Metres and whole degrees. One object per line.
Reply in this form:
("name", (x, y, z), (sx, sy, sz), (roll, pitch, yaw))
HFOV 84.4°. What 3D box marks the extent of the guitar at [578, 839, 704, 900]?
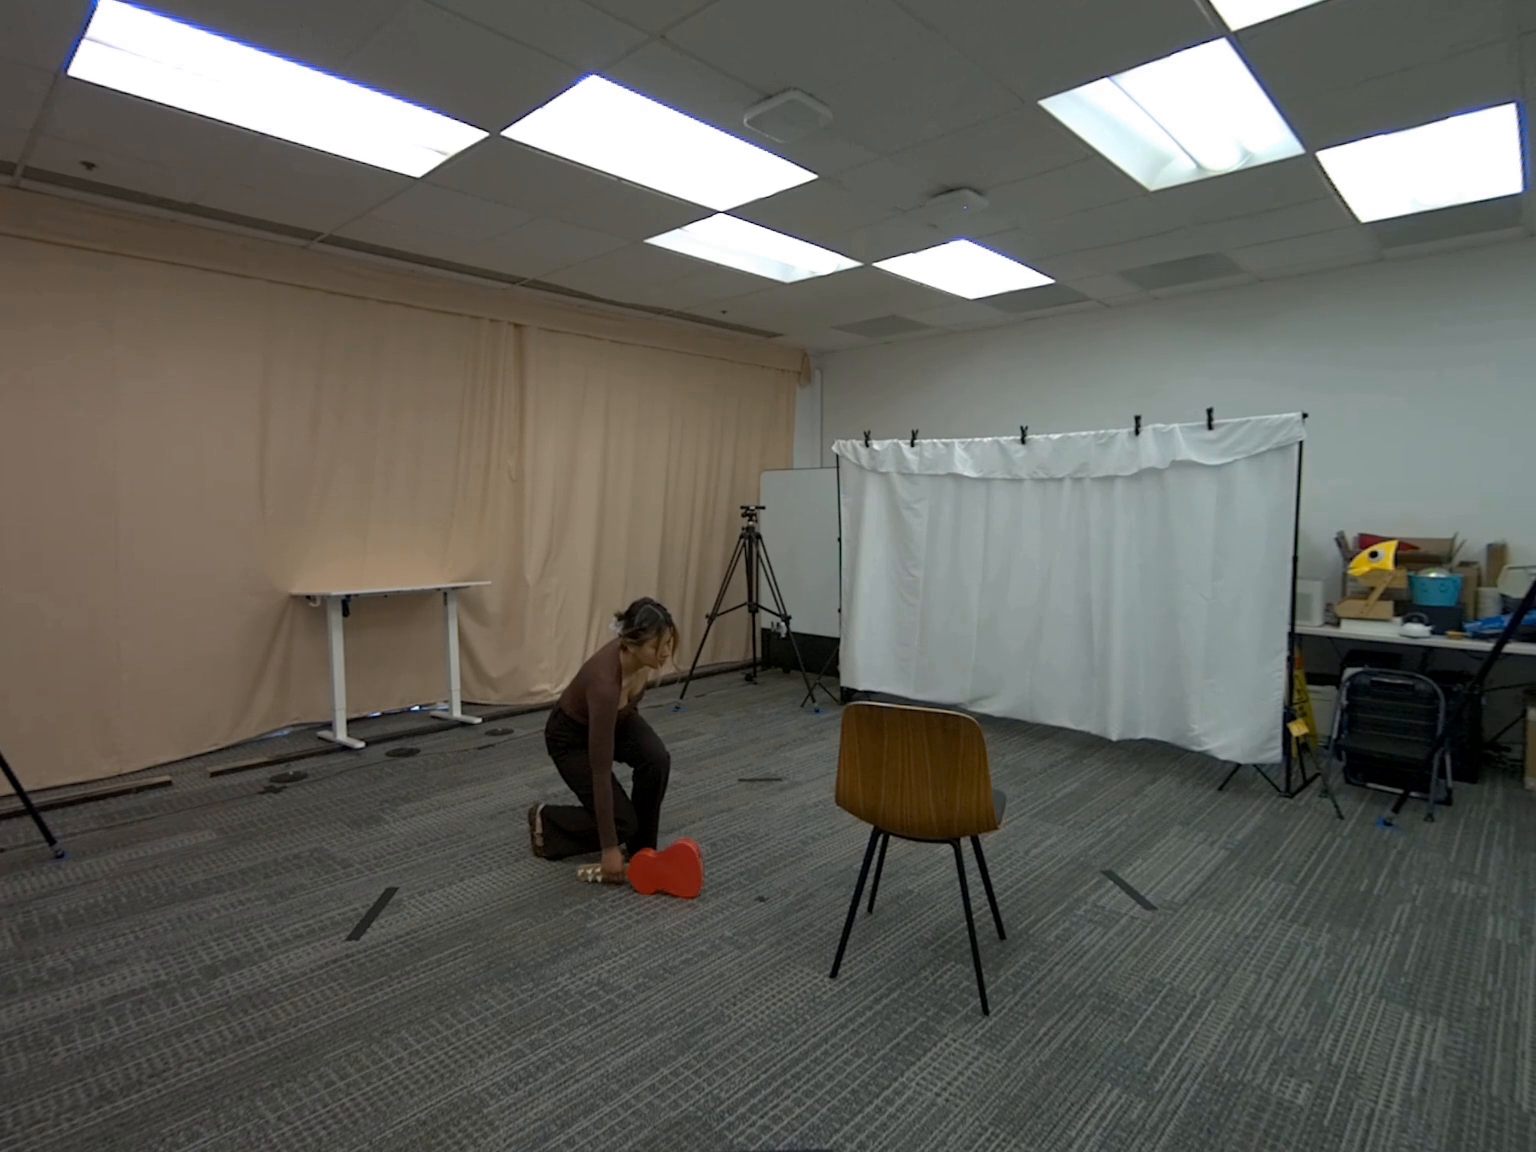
("guitar", (-0.464, 1.096, 3.054), (0.503, 0.193, 0.070), (-18, -2, 12))
